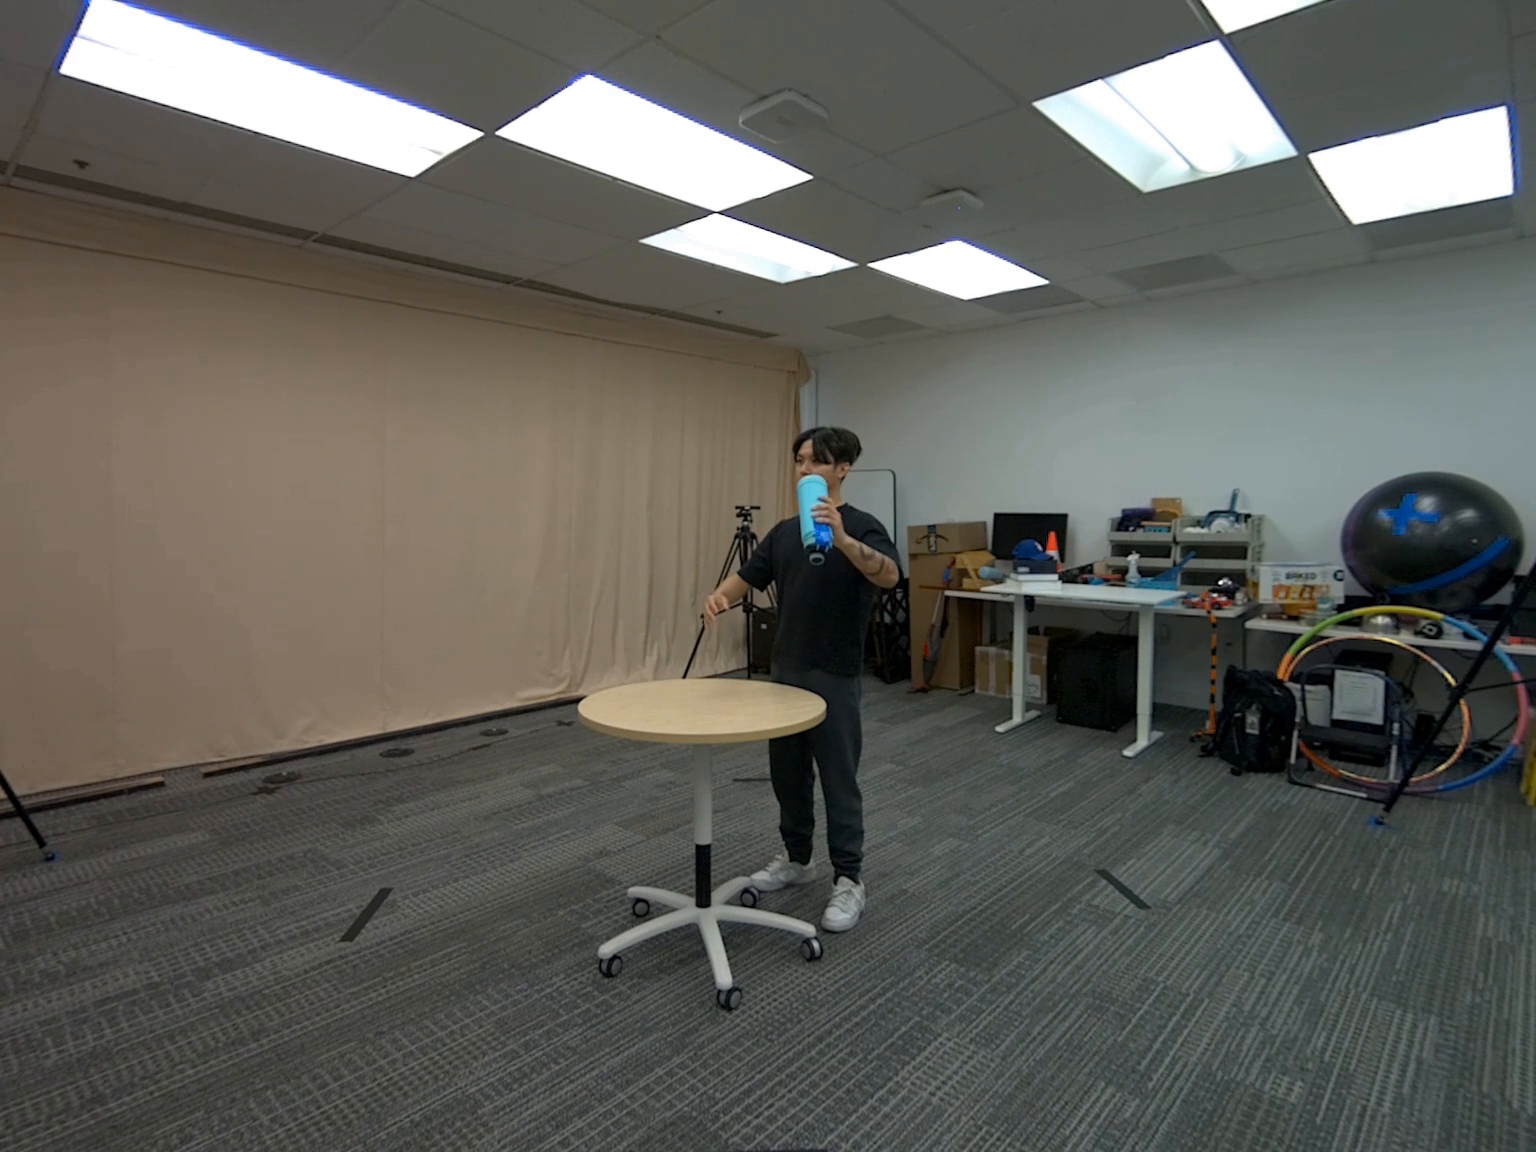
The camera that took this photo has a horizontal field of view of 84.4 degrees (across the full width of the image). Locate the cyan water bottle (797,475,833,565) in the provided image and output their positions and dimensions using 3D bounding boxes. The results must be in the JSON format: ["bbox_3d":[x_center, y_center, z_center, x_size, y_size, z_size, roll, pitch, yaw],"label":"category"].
[{"bbox_3d":[0.137,-0.157,2.469,0.092,0.289,0.091,-1,-39,-3],"label":"cyan water bottle"}]
